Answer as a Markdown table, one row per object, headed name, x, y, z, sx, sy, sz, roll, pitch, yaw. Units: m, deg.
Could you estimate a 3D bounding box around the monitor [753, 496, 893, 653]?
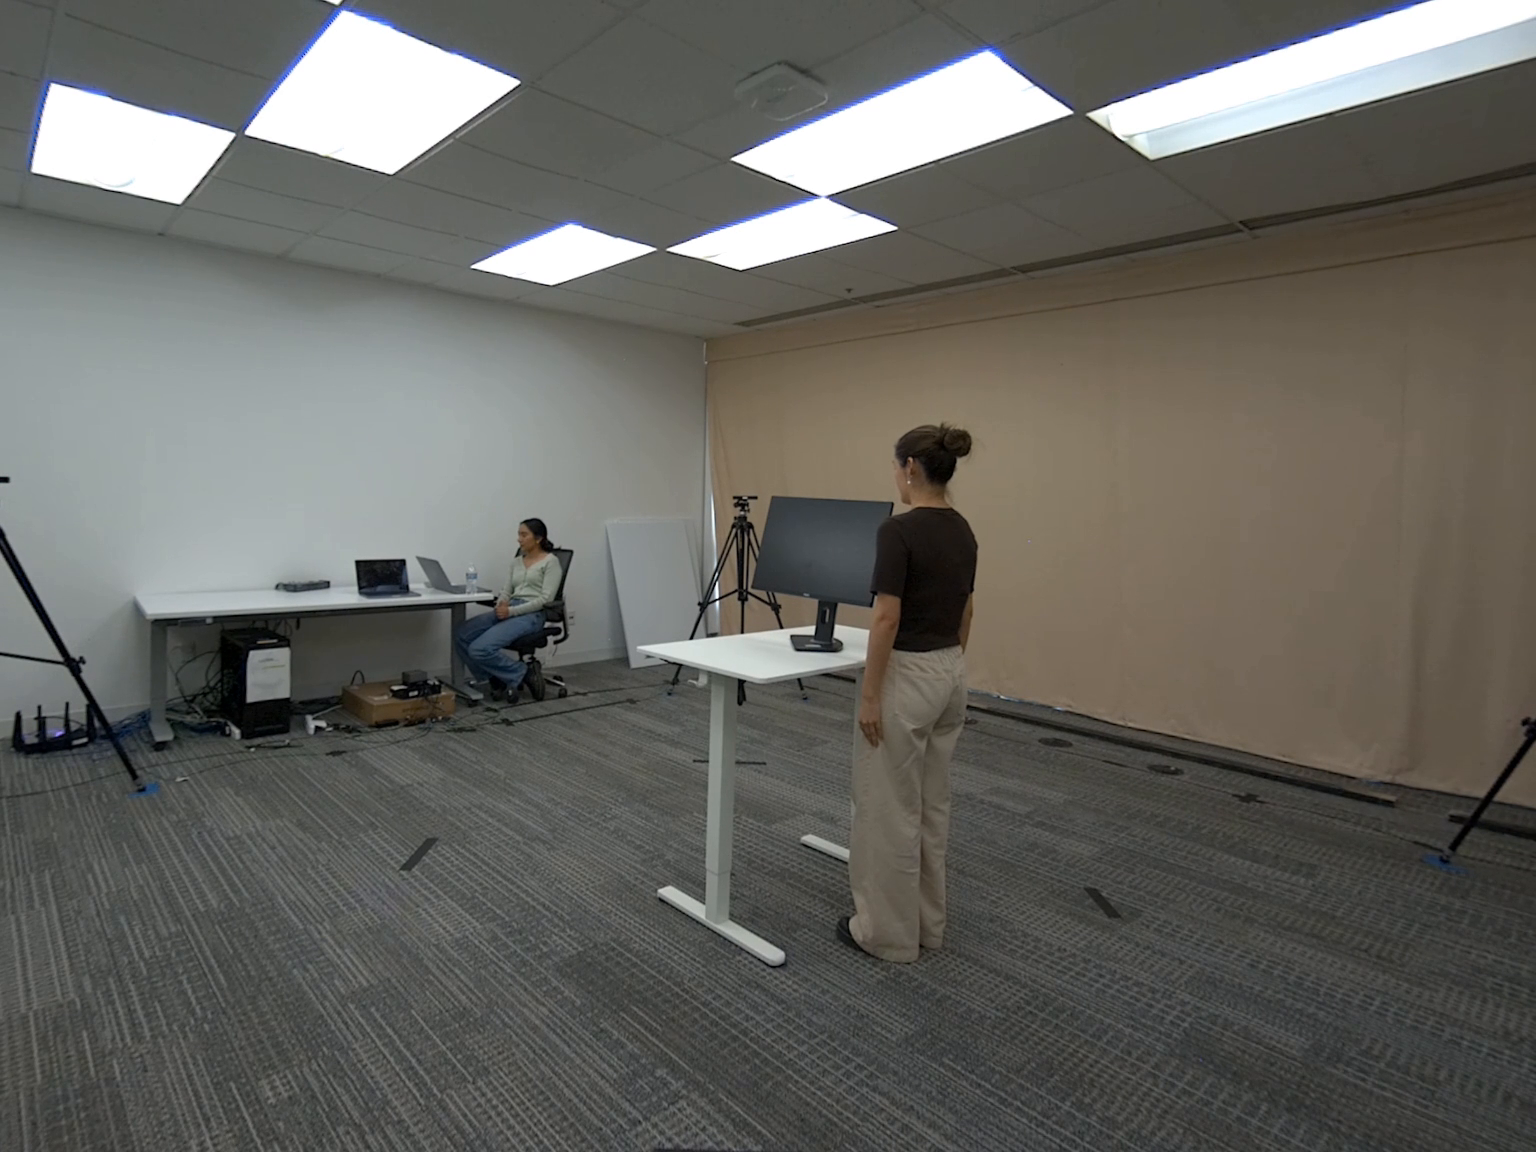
| name | x | y | z | sx | sy | sz | roll | pitch | yaw |
| --- | --- | --- | --- | --- | --- | --- | --- | --- | --- |
| monitor | 0.187 | -0.006 | 2.917 | 0.553 | 0.521 | 0.183 | 7 | 7 | 41 |
